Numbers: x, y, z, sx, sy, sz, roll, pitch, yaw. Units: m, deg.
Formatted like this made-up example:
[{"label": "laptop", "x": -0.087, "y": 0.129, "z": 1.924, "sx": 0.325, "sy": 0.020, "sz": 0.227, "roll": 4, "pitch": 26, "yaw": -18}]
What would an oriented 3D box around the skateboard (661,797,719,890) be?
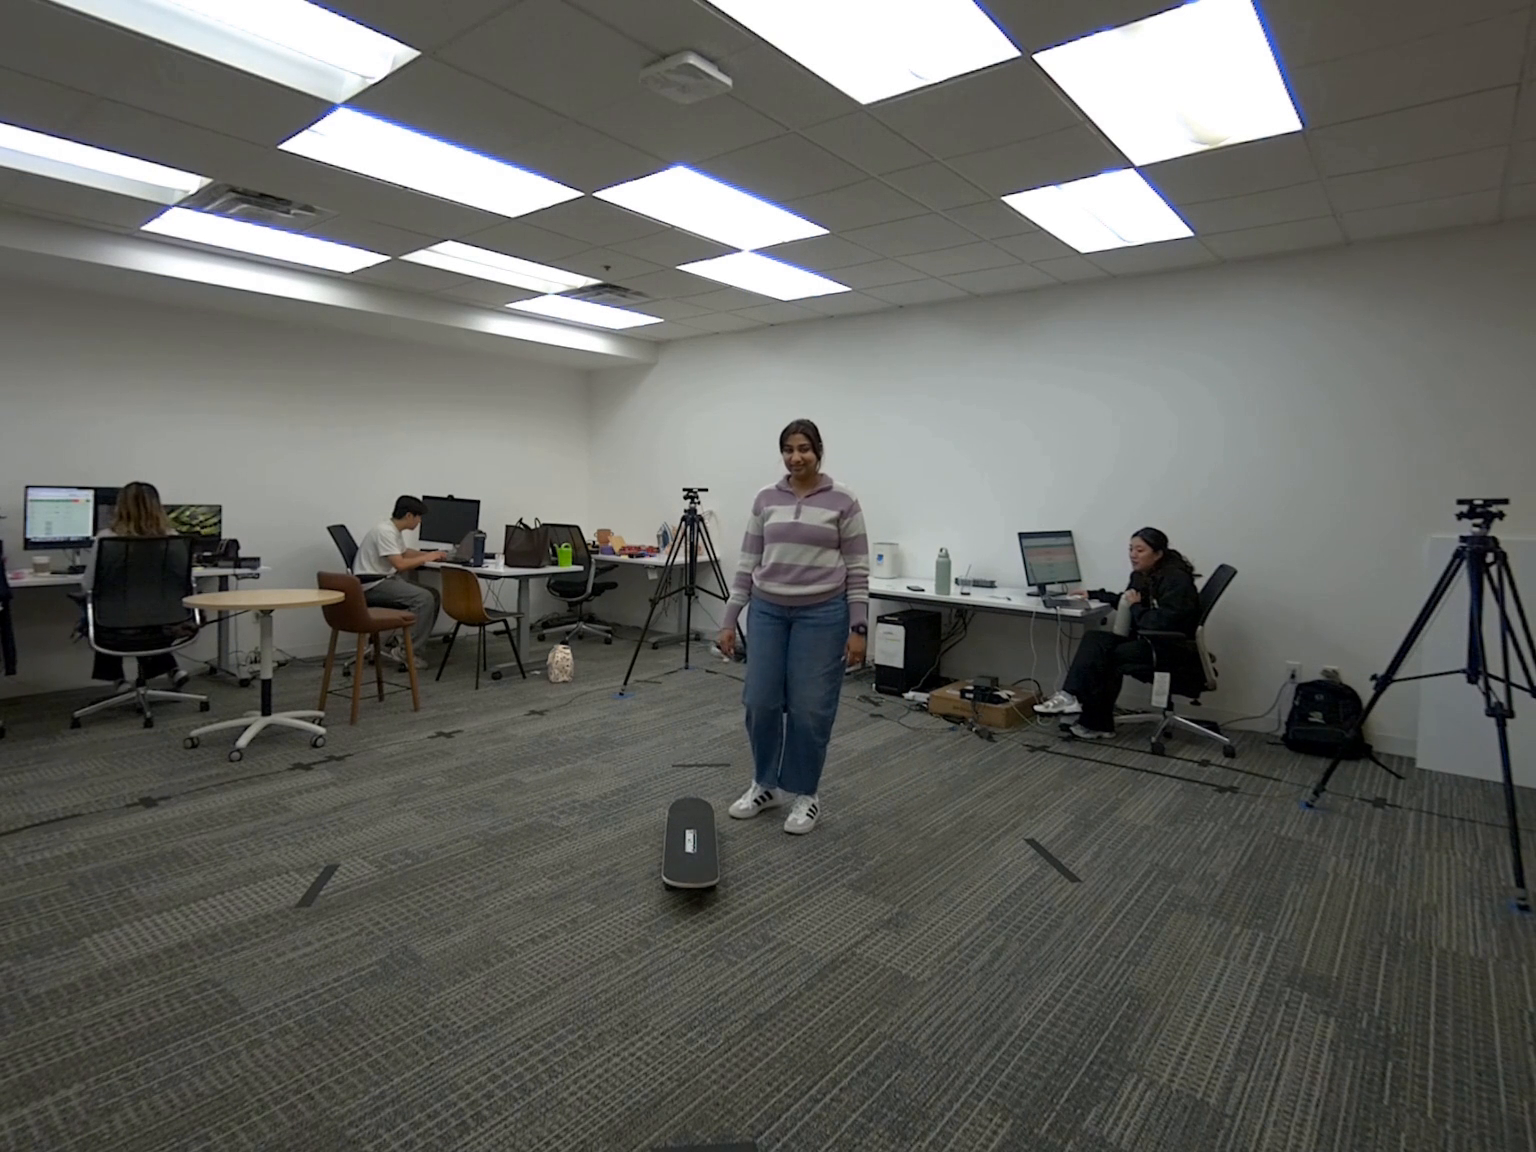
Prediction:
[{"label": "skateboard", "x": -0.294, "y": 1.004, "z": 3.147, "sx": 0.193, "sy": 0.110, "sz": 0.791, "roll": 1, "pitch": 5, "yaw": -5}]
